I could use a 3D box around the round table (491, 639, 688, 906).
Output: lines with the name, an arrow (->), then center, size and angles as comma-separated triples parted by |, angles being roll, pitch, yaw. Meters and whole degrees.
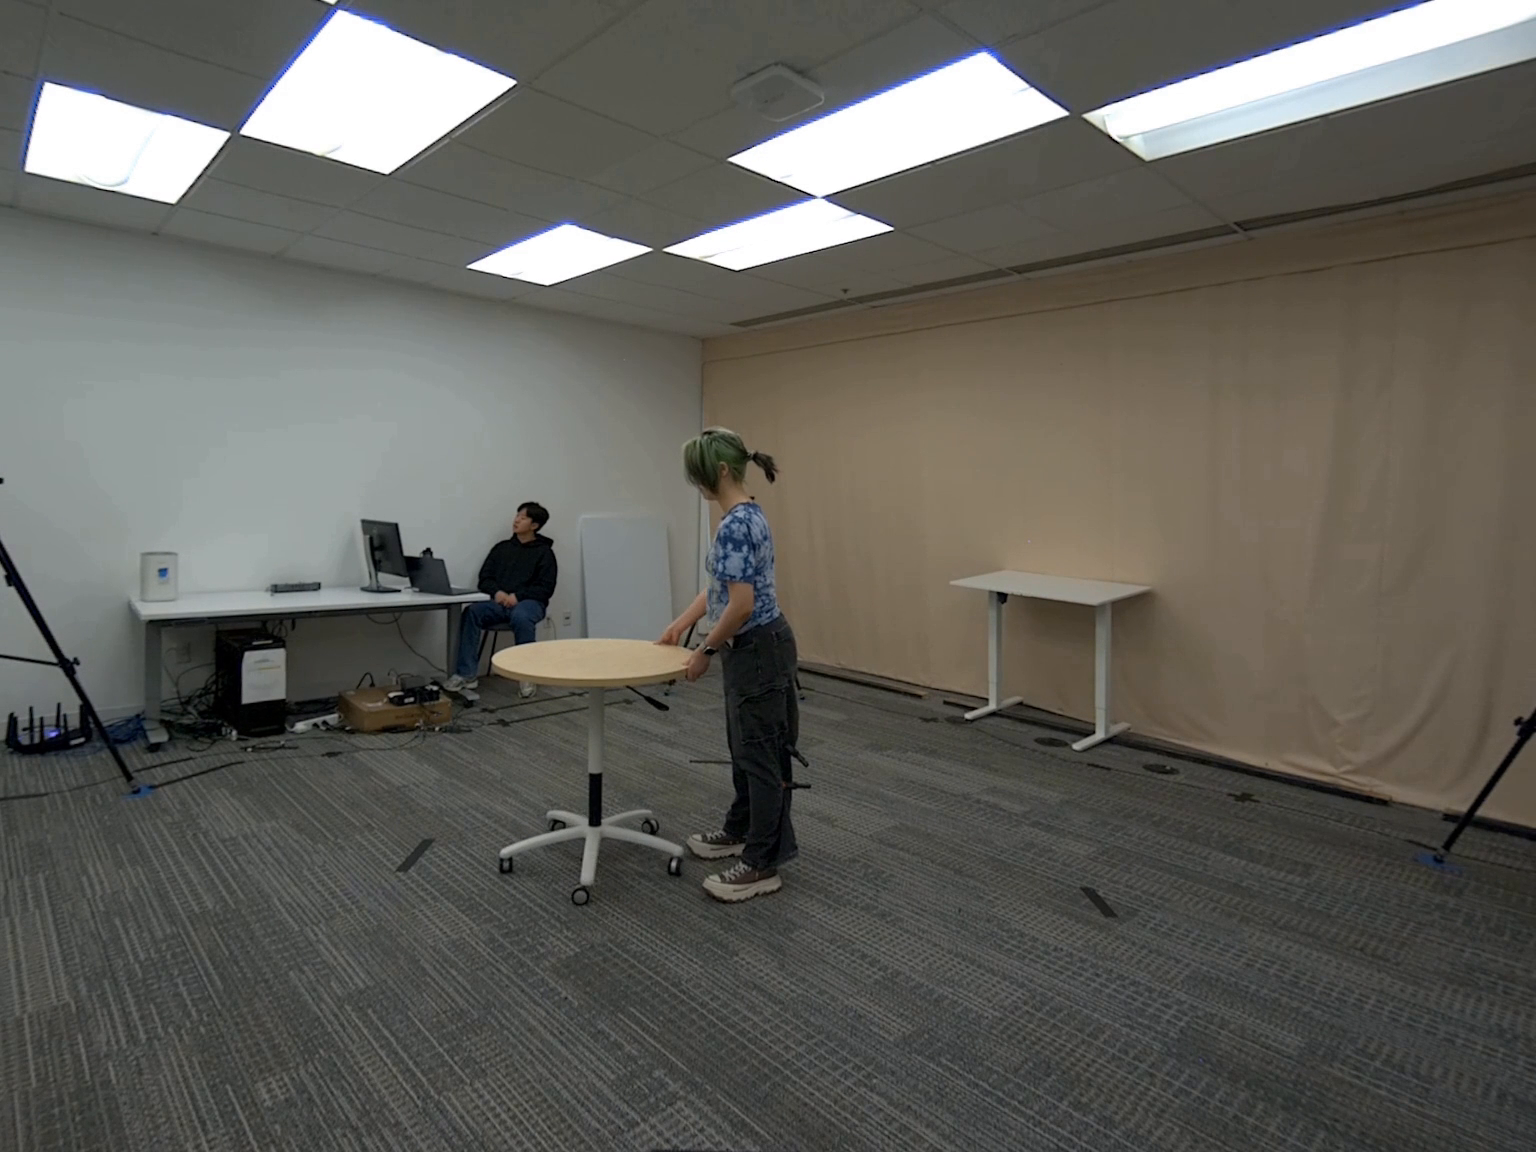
round table -> -0.652, 0.697, 3.178 | 0.763, 0.792, 0.766 | 1, 4, -1
